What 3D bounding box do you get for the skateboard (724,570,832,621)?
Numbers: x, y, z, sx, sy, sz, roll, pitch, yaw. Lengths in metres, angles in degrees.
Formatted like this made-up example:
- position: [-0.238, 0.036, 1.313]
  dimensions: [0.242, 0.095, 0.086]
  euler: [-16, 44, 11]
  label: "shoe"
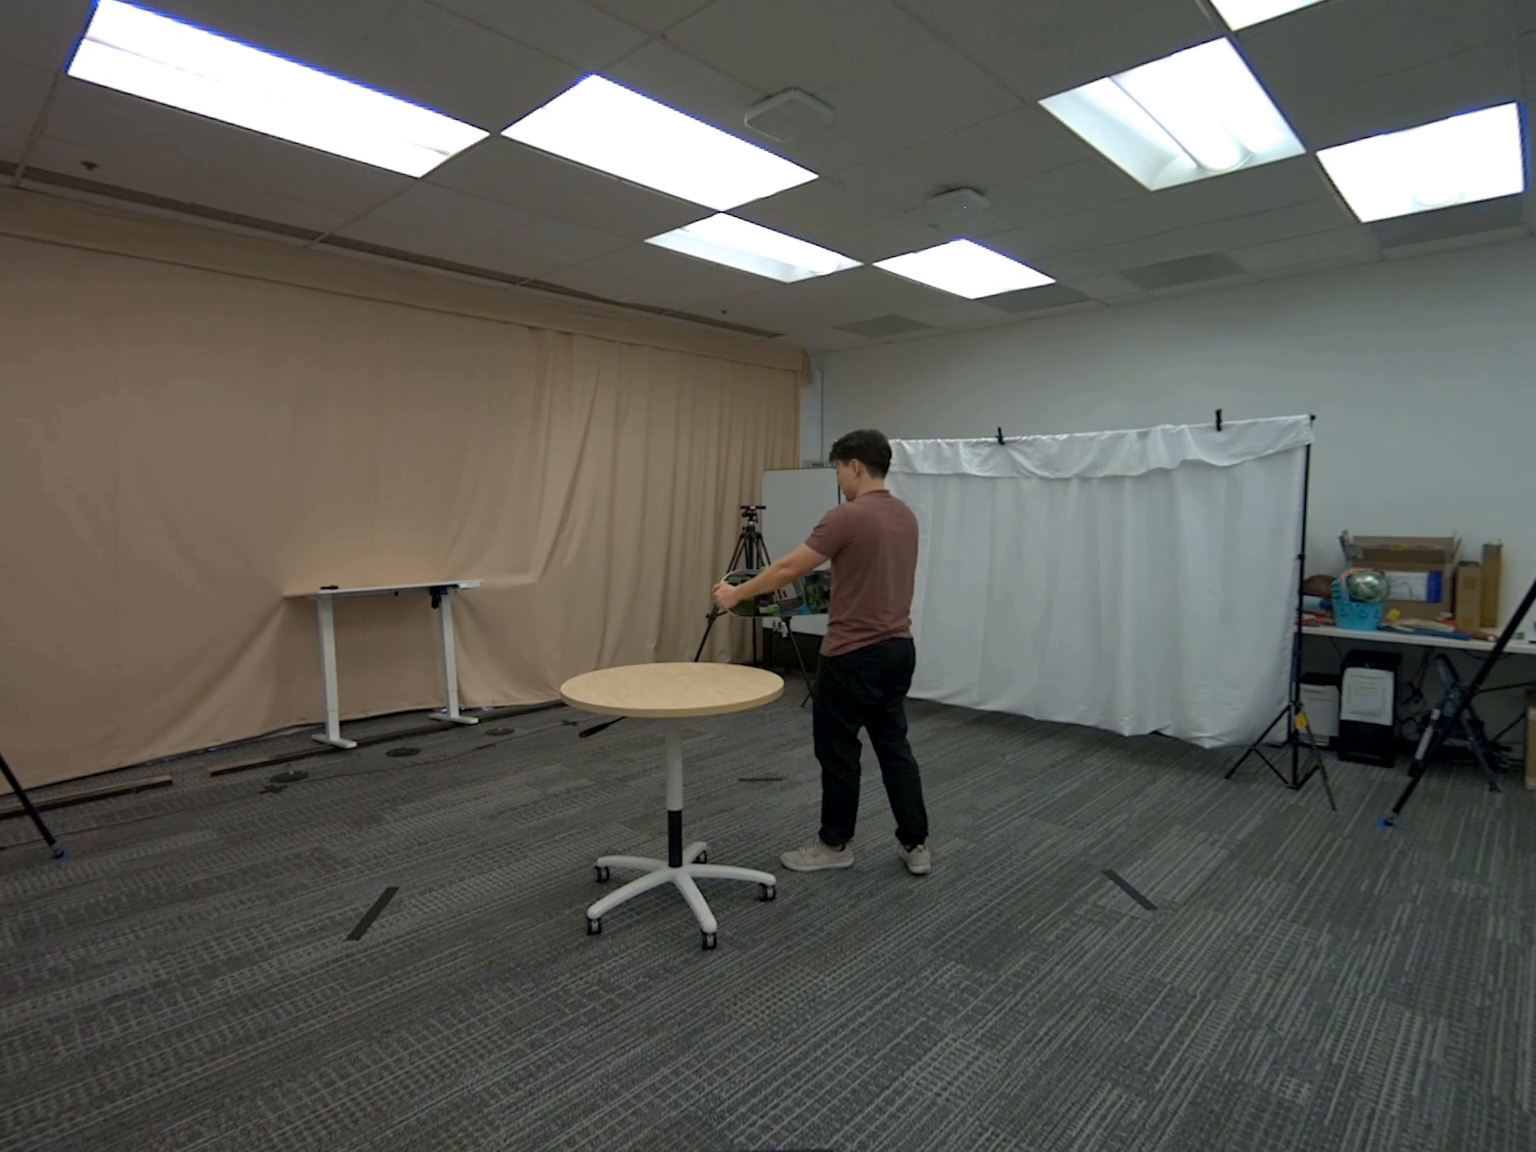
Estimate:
- position: [0.125, 0.069, 3.473]
  dimensions: [0.760, 0.195, 0.113]
  euler: [-1, -15, -44]
  label: "skateboard"
